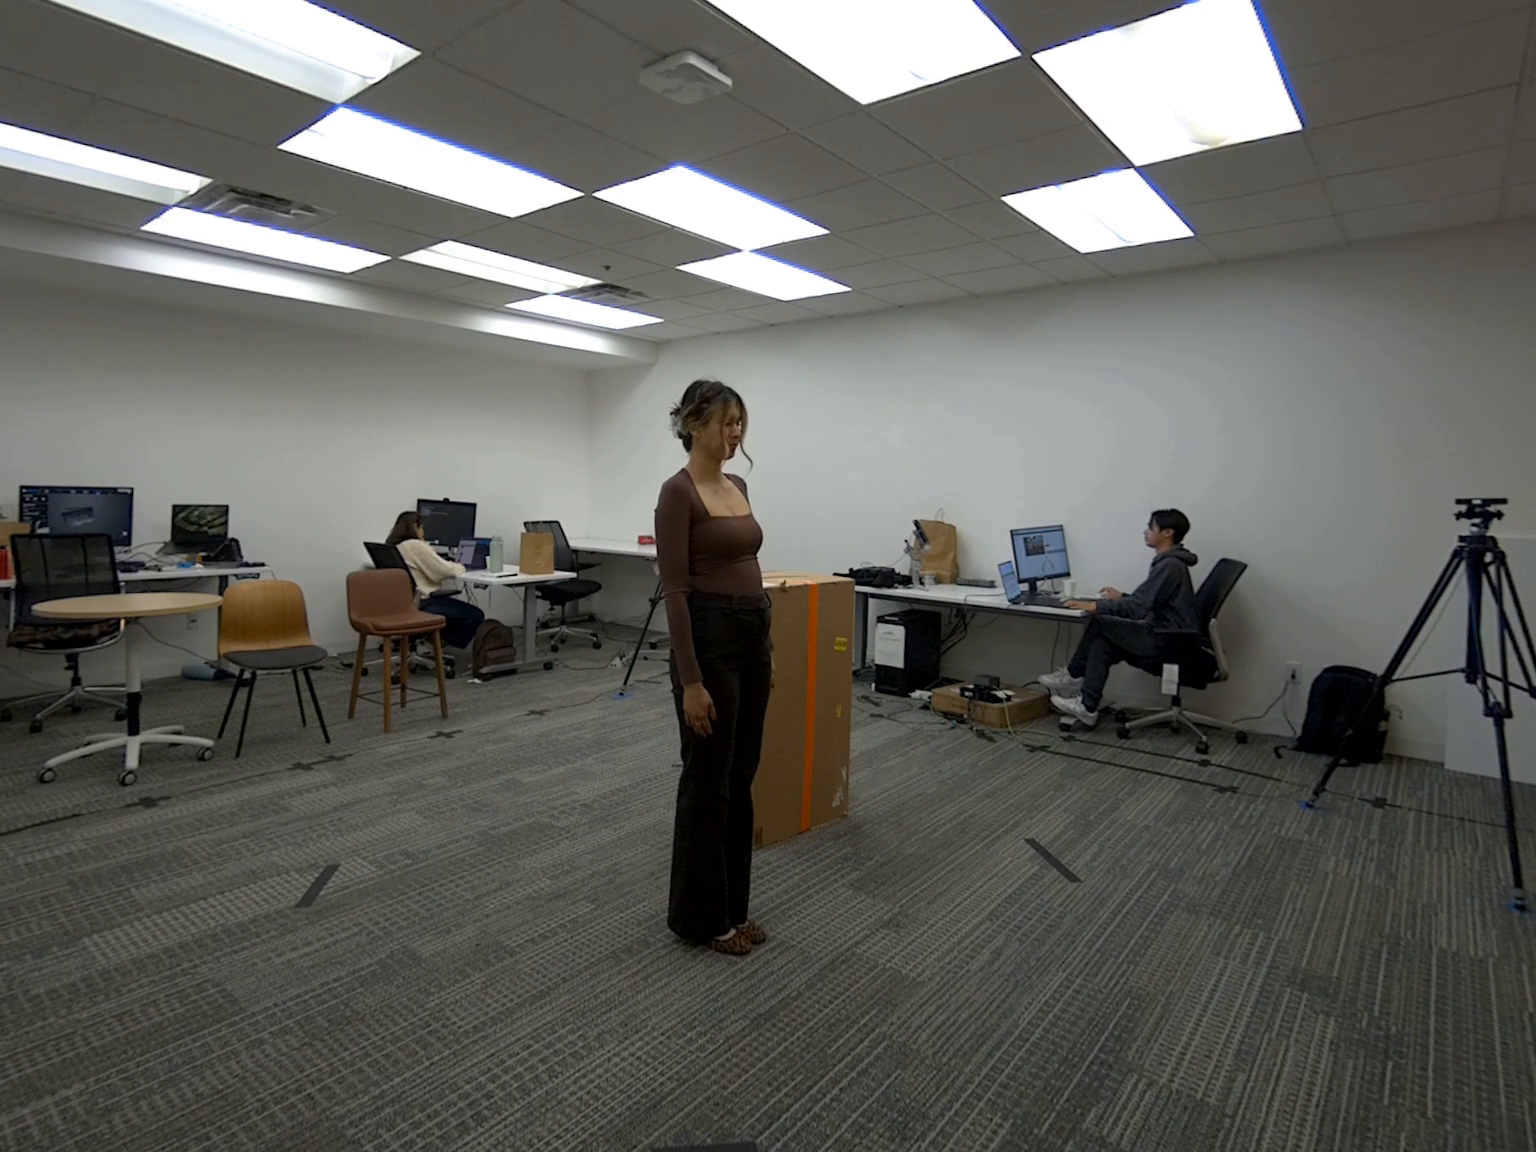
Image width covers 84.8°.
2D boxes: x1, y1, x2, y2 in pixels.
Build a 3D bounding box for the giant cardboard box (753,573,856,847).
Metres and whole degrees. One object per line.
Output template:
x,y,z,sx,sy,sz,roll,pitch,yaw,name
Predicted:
0.005,0.516,3.606,0.566,1.024,0.462,-2,5,-42,giant cardboard box
